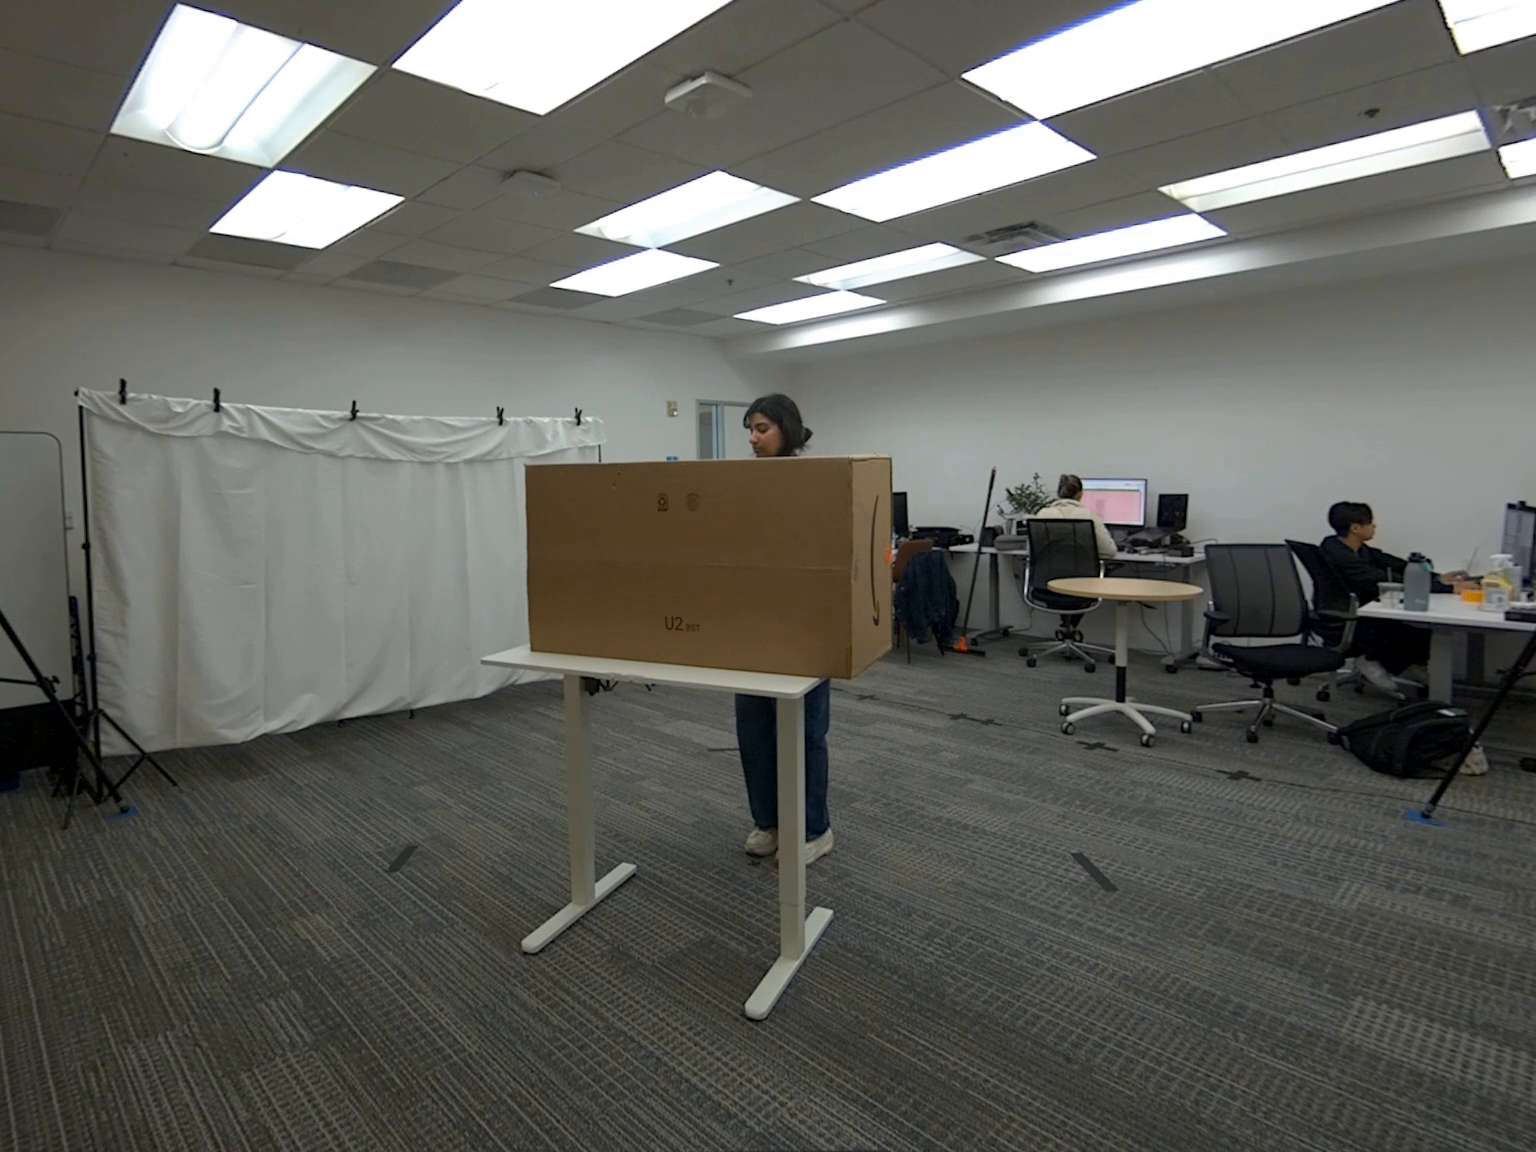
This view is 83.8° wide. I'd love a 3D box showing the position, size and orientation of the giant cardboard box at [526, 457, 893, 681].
[{"bbox_3d":[-0.192,-0.057,2.567,1.050,0.575,0.418,2,5,25],"label":"giant cardboard box"}]
